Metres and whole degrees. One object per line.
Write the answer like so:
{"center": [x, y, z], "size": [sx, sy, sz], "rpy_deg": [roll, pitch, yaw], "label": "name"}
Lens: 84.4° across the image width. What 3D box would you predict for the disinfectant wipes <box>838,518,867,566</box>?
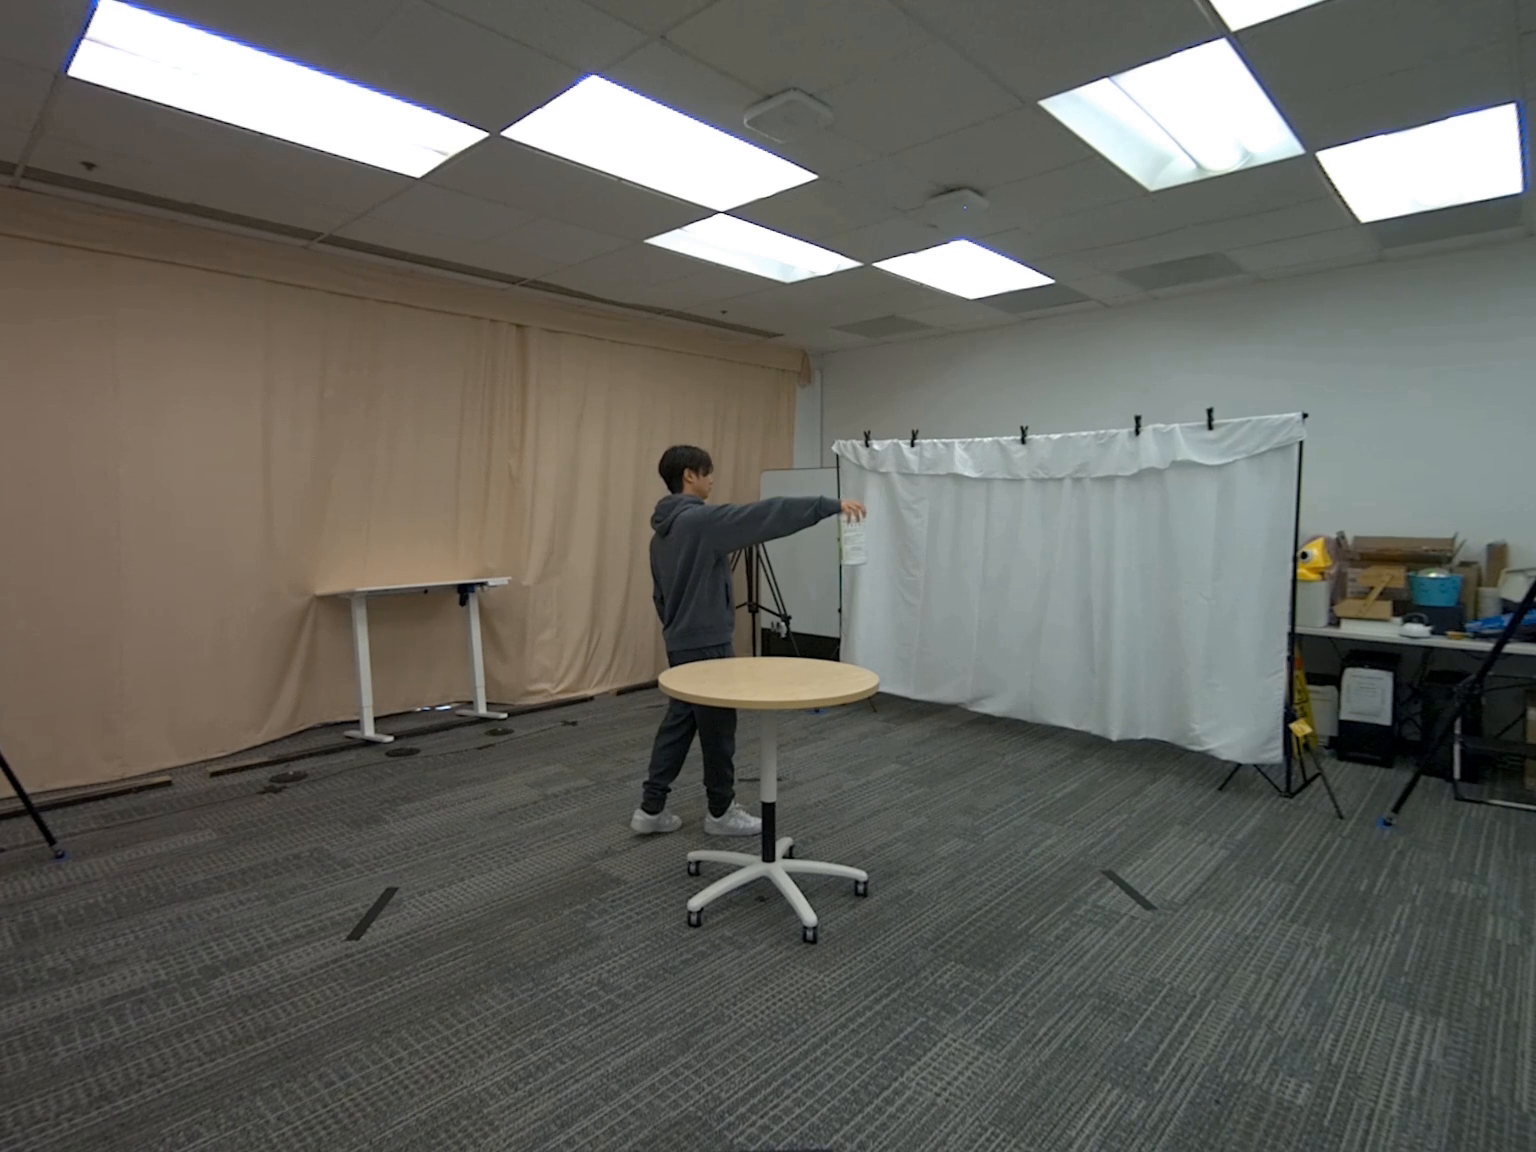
{"center": [0.345, -0.150, 3.379], "size": [0.118, 0.217, 0.118], "rpy_deg": [-4, 4, -1], "label": "disinfectant wipes"}
